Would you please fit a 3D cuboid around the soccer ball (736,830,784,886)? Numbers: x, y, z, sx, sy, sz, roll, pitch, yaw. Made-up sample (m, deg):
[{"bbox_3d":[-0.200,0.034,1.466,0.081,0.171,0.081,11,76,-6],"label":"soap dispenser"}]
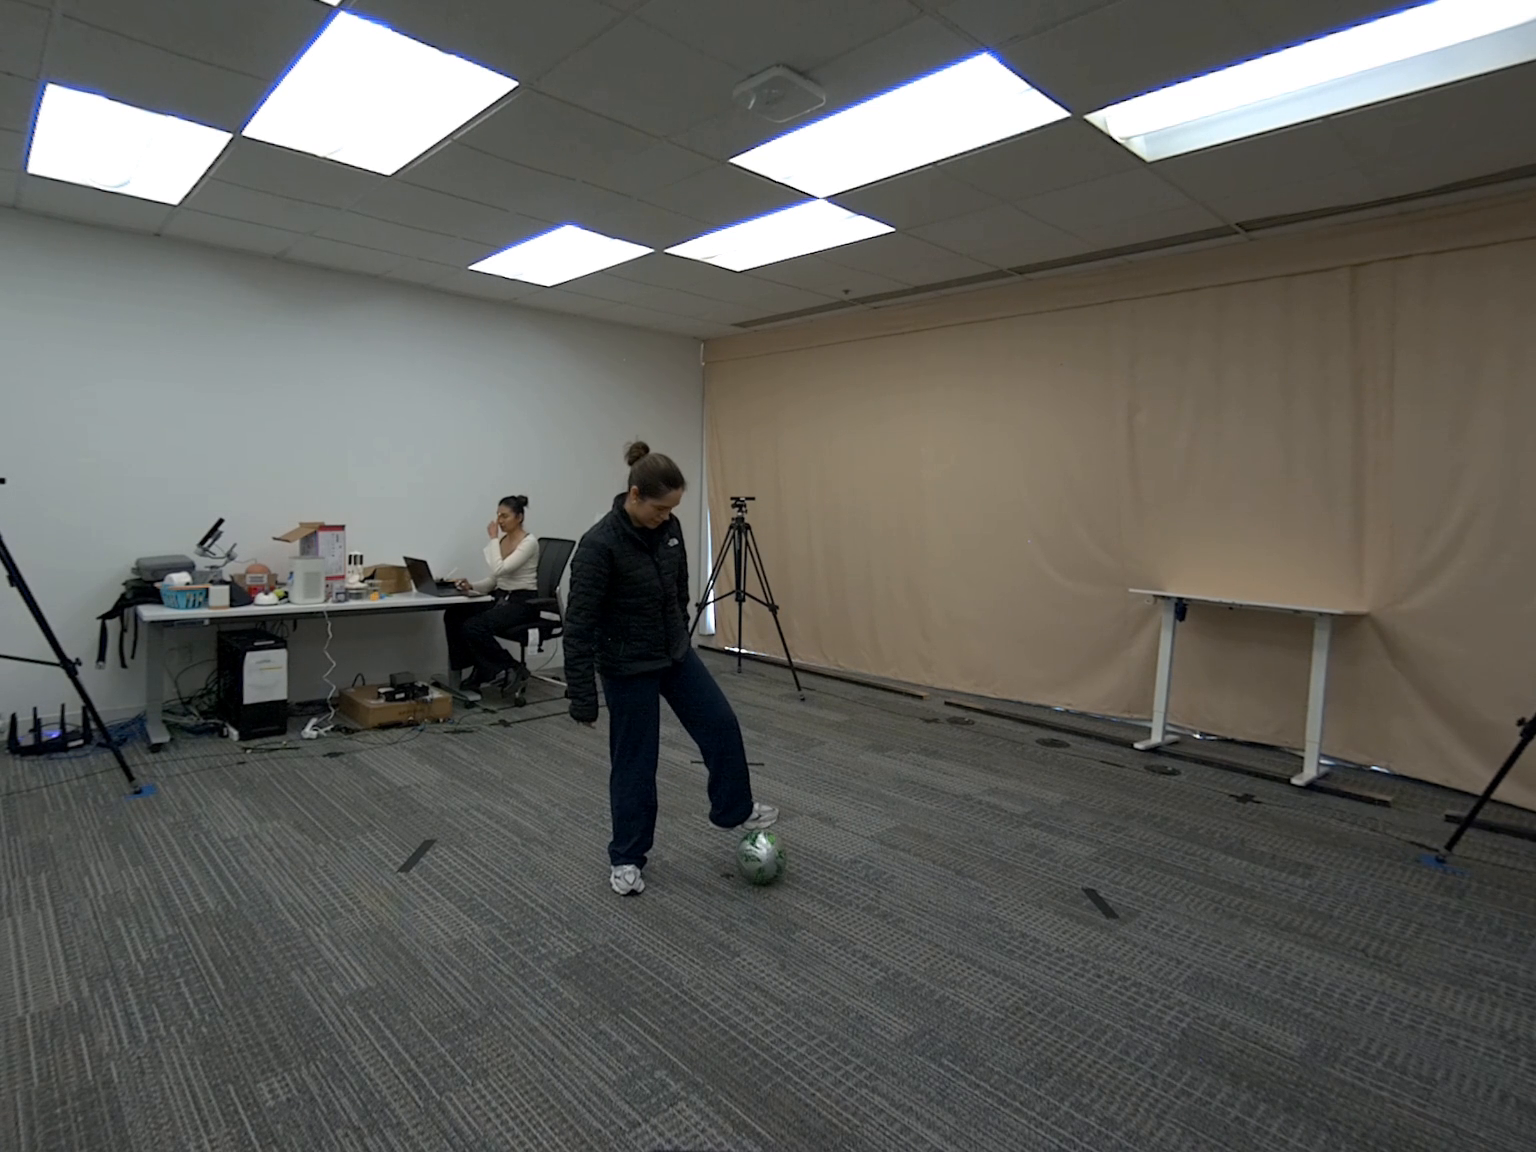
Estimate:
[{"bbox_3d":[-0.031,1.020,3.054,0.187,0.187,0.188,1,4,-1],"label":"soccer ball"}]
